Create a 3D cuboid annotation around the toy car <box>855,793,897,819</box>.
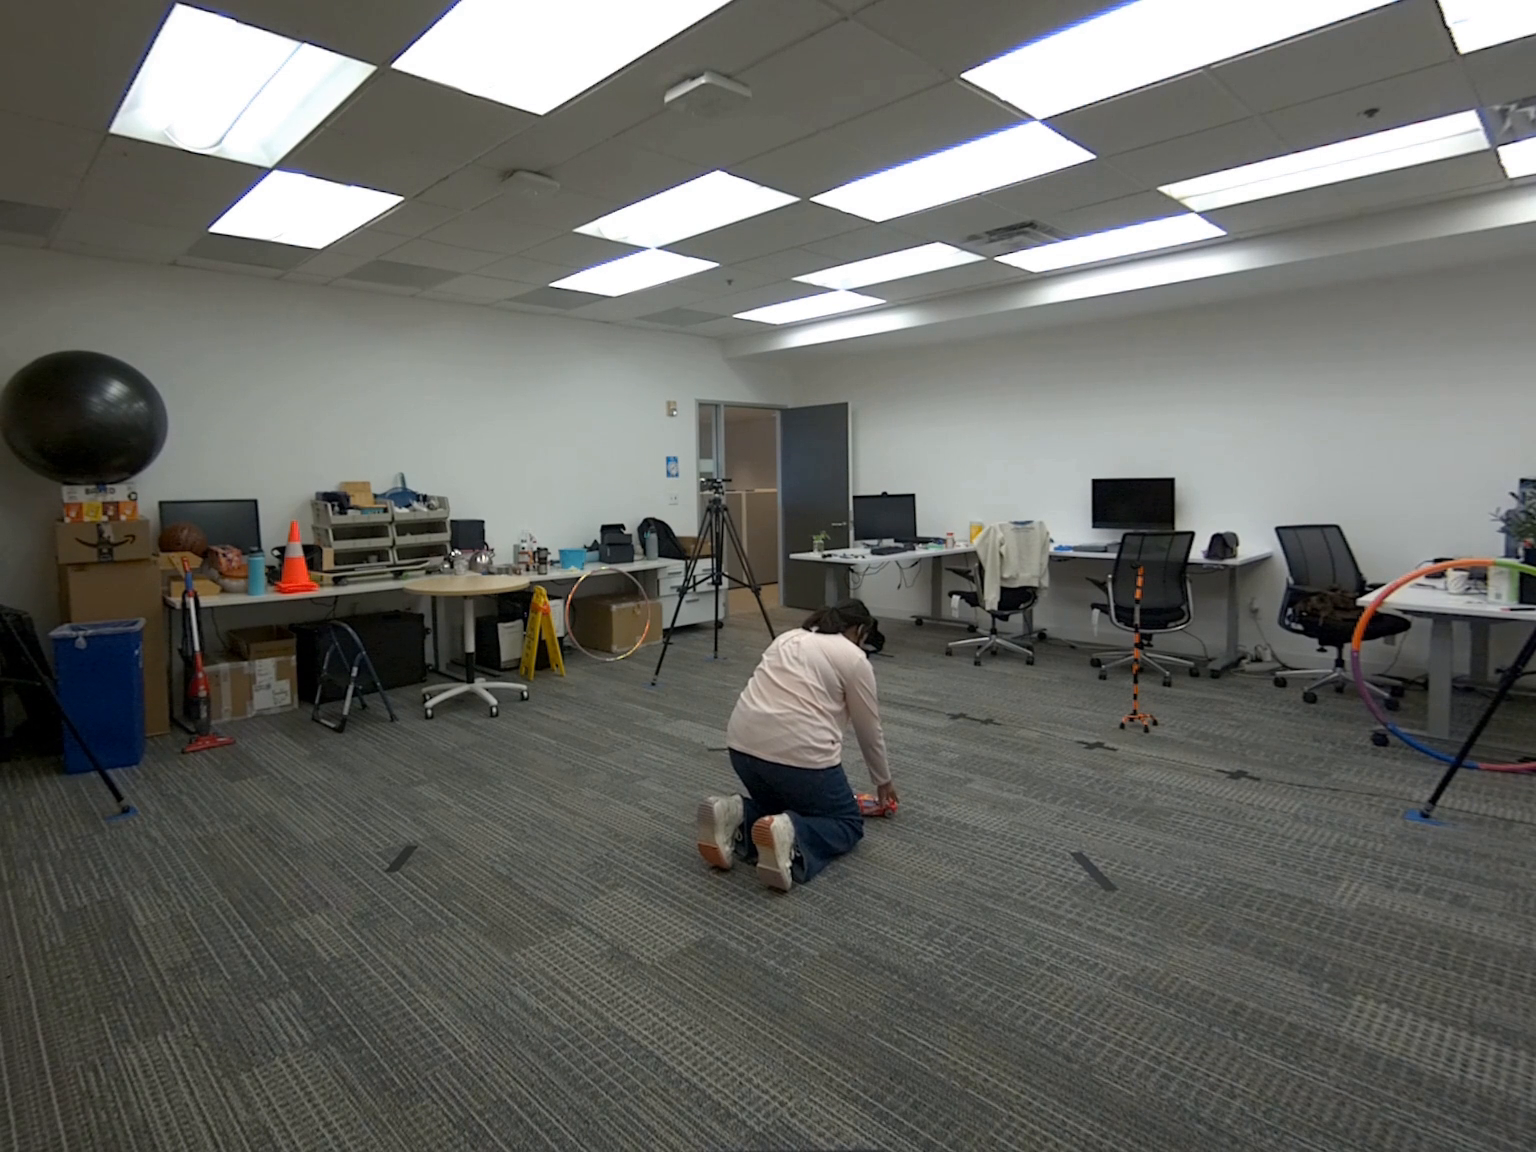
[{"bbox_3d":[0.397,0.953,3.545,0.254,0.083,0.131,13,3,-2],"label":"toy car"}]
